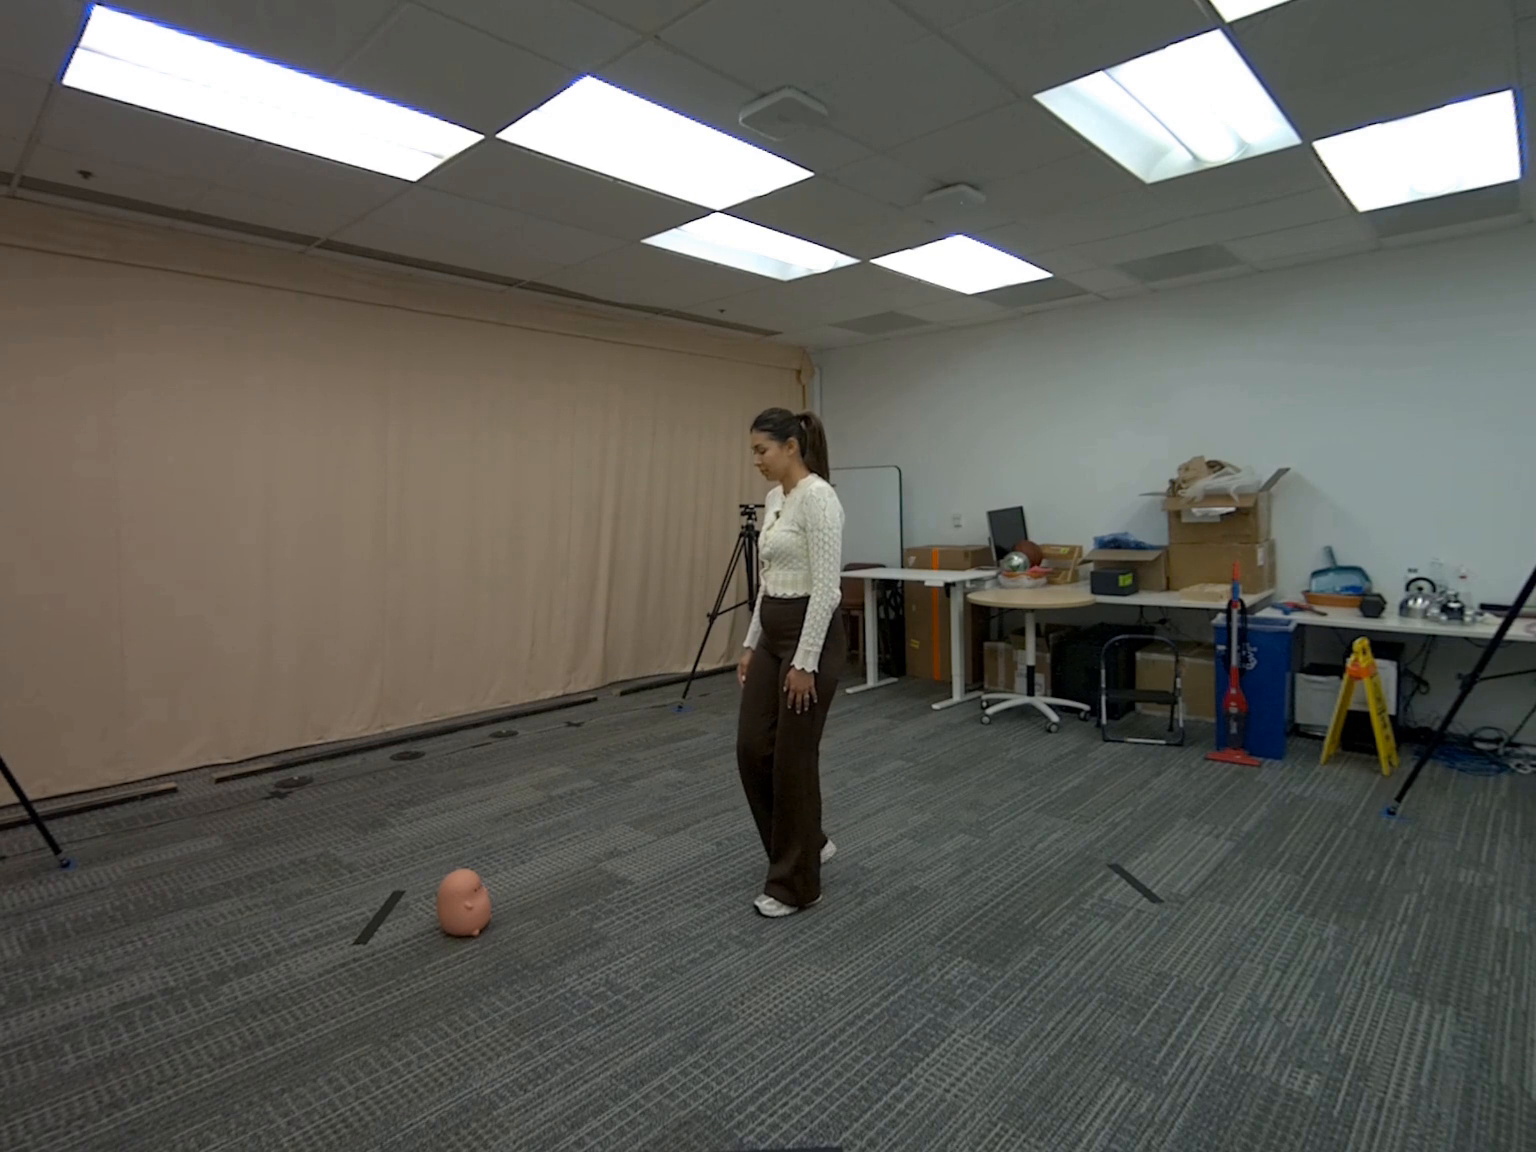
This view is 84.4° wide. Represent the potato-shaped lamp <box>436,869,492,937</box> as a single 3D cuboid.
[{"bbox_3d":[-1.014,1.082,2.805,0.173,0.198,0.163,-4,1,11],"label":"potato-shaped lamp"}]
